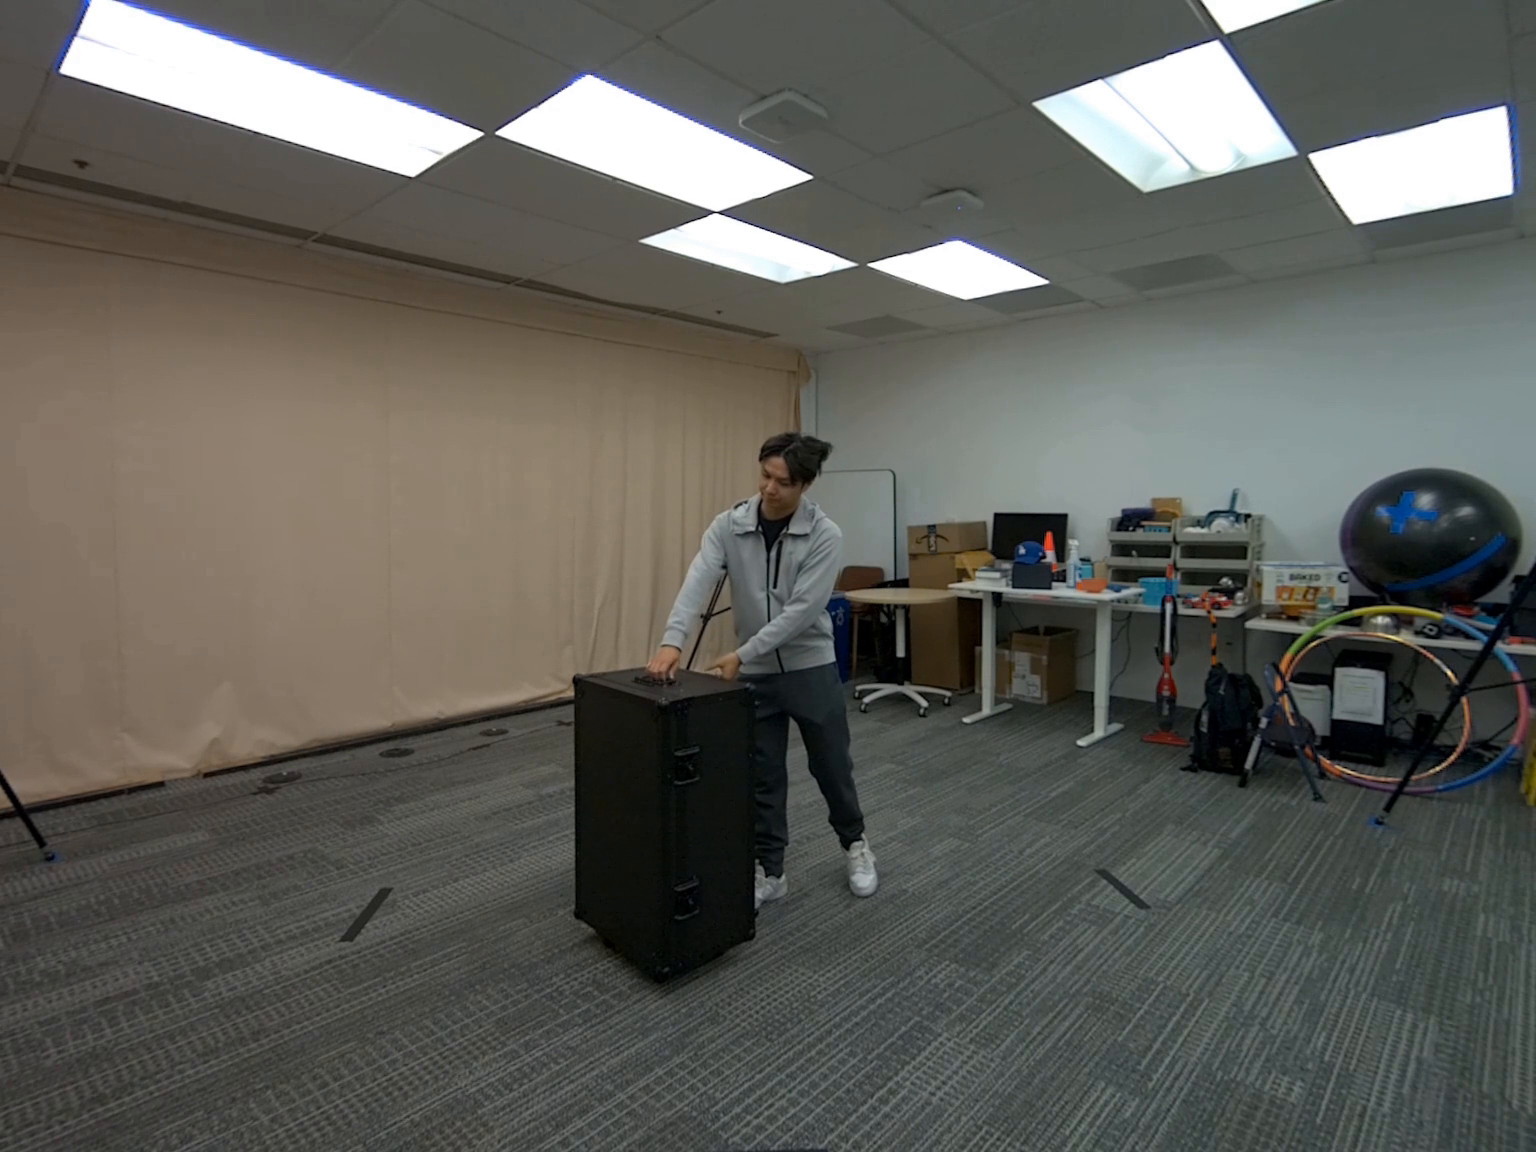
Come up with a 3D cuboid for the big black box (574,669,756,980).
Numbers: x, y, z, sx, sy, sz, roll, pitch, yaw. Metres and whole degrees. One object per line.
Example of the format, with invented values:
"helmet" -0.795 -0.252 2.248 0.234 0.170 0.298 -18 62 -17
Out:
"big black box" -0.328 0.753 2.640 0.384 0.860 0.538 -1 3 -42
